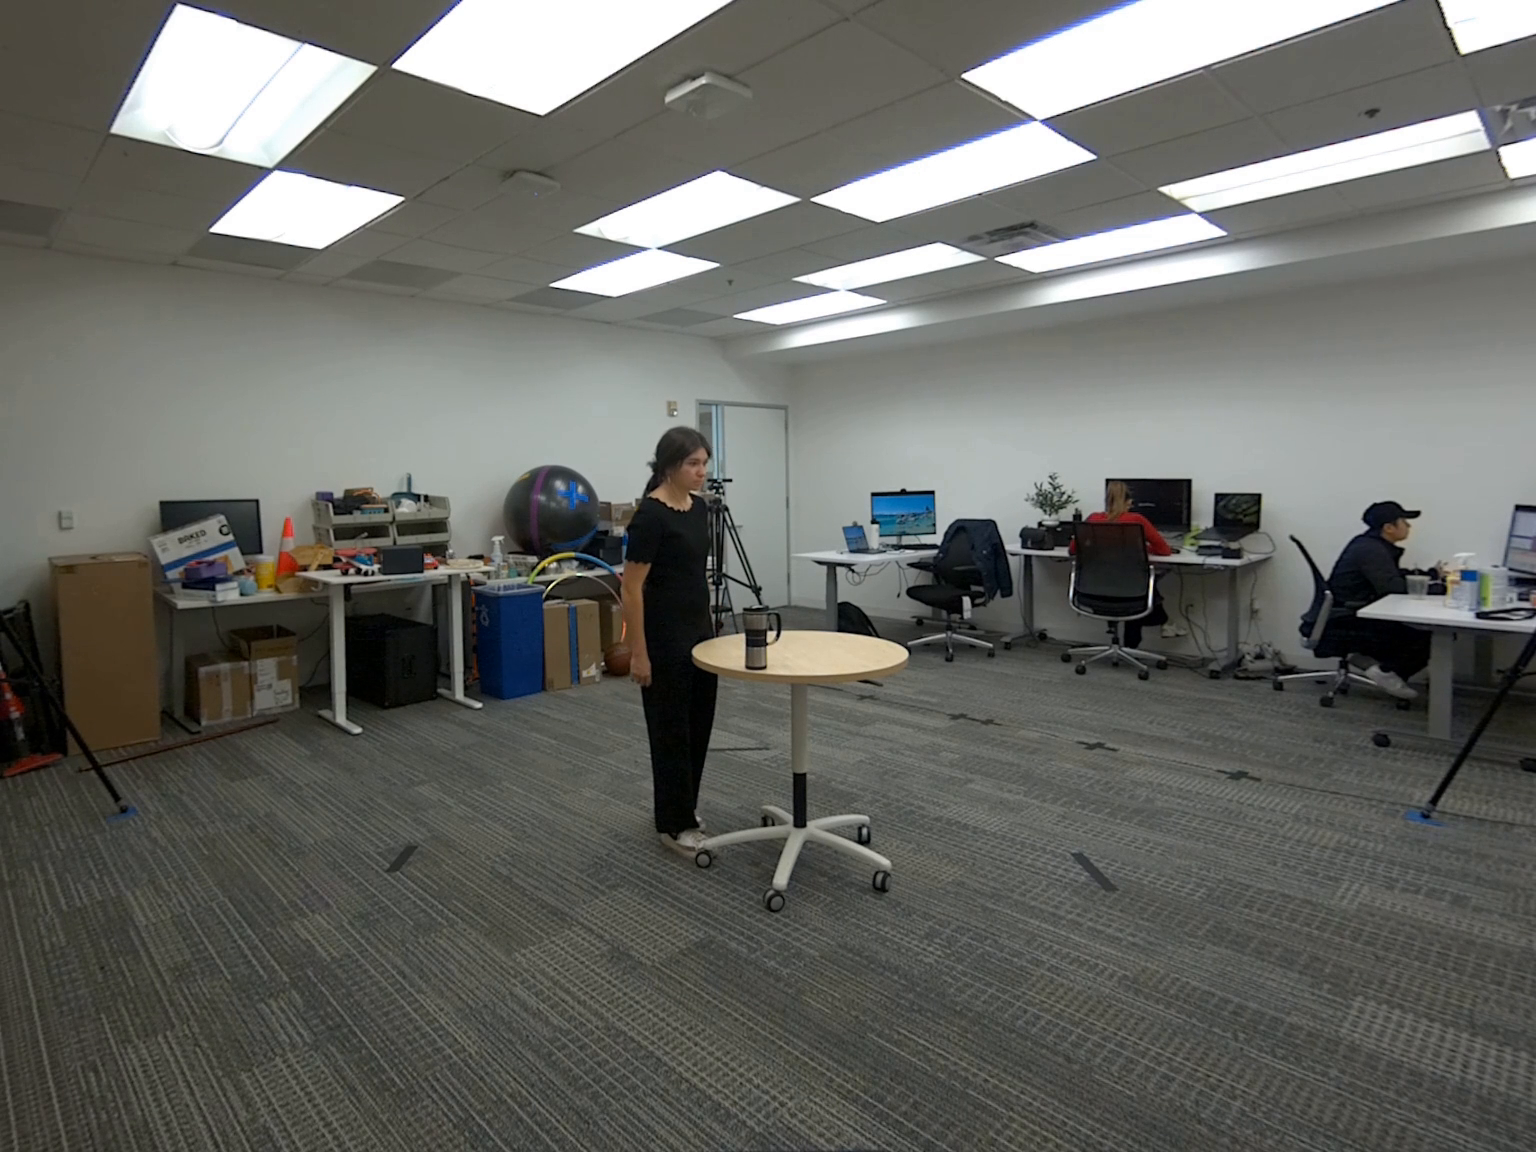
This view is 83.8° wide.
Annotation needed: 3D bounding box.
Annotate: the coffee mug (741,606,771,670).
[{"bbox_3d":[-0.018,0.199,2.758,0.125,0.203,0.086,-2,1,31],"label":"coffee mug"}]
